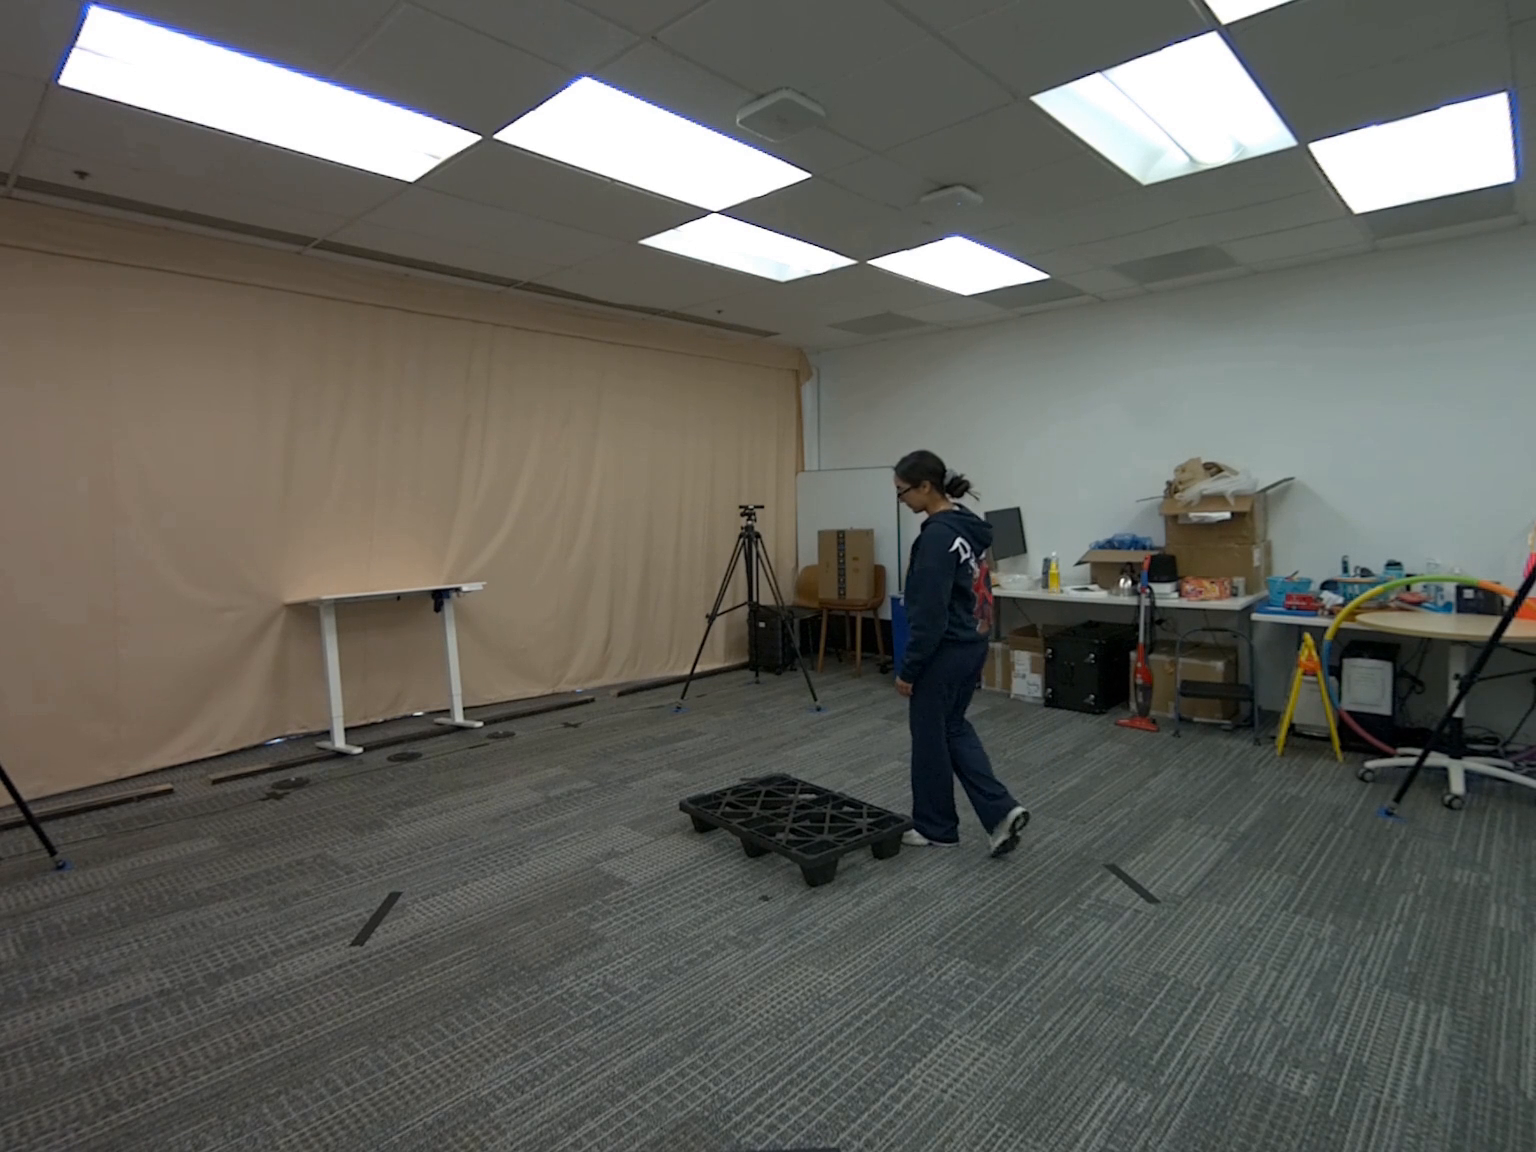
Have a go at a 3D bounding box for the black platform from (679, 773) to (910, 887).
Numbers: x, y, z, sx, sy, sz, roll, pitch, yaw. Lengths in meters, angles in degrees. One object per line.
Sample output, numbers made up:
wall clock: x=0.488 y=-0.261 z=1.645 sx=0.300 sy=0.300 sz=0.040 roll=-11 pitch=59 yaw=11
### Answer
black platform: x=0.102 y=1.030 z=3.470 sx=0.587 sy=0.143 sz=0.832 roll=-5 pitch=6 yaw=-40
